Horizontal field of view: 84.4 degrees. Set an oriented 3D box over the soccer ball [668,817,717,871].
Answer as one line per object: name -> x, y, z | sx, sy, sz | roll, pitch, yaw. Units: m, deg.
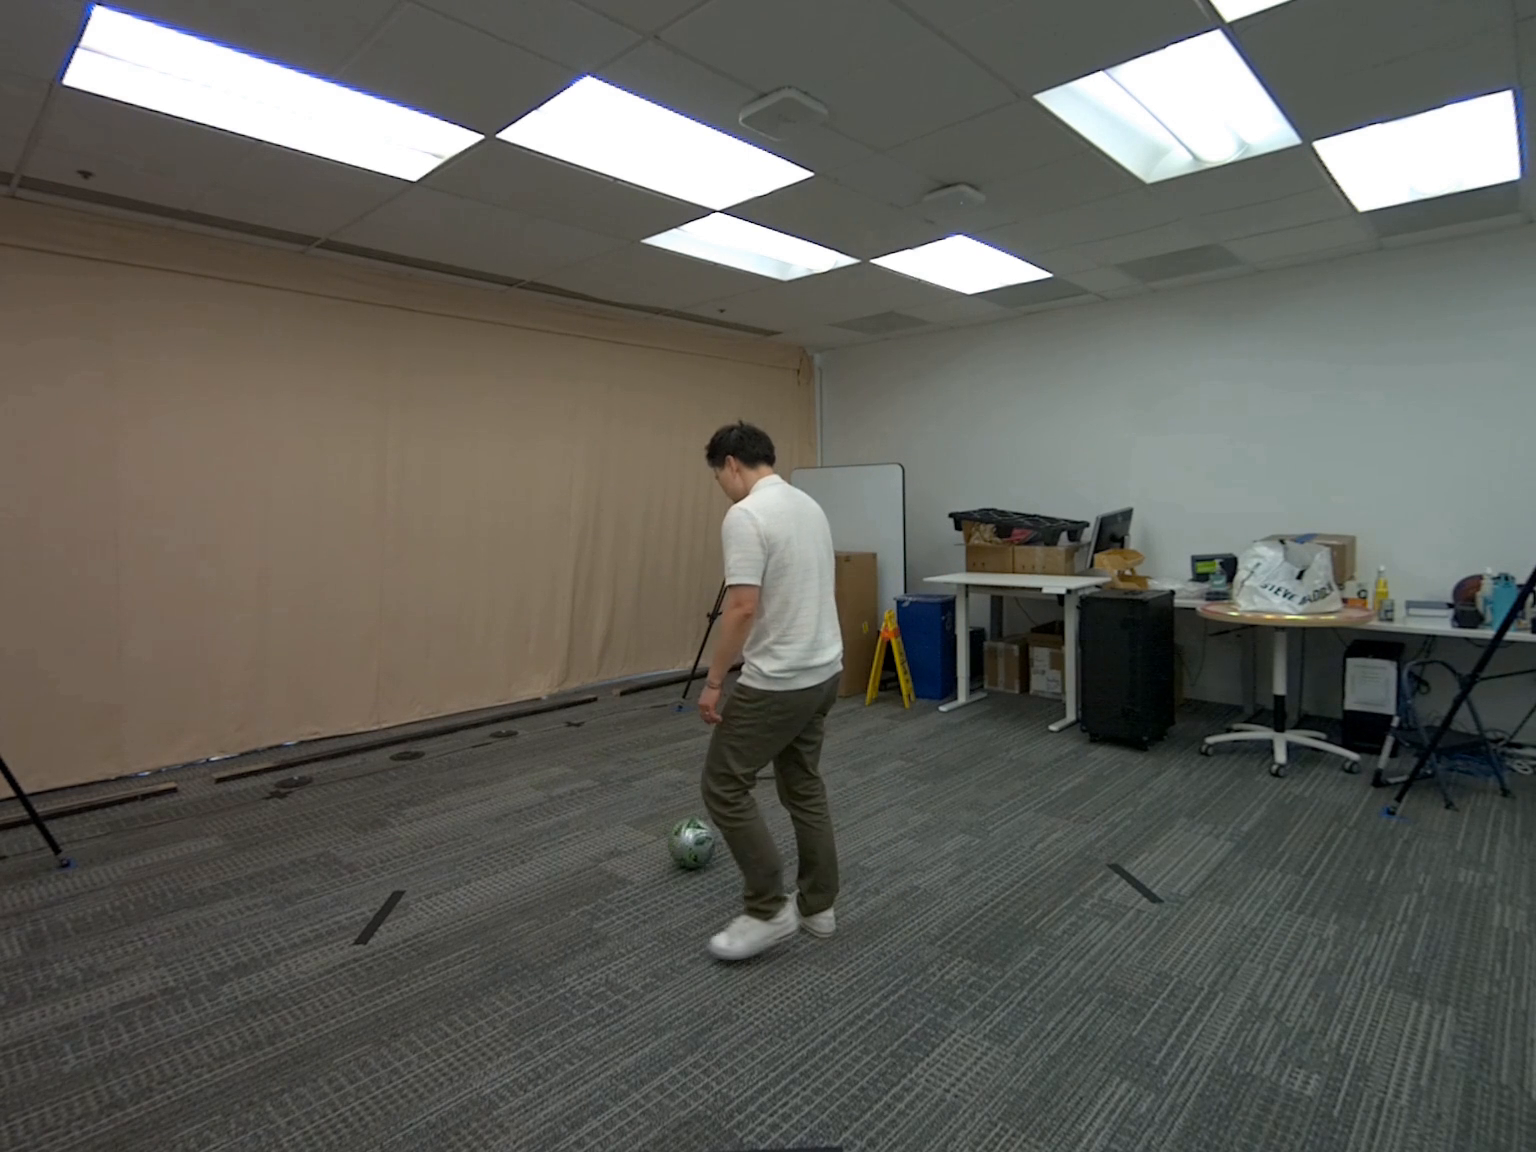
soccer ball -> -0.292, 1.027, 3.253 | 0.187, 0.187, 0.188 | -1, 4, -2
